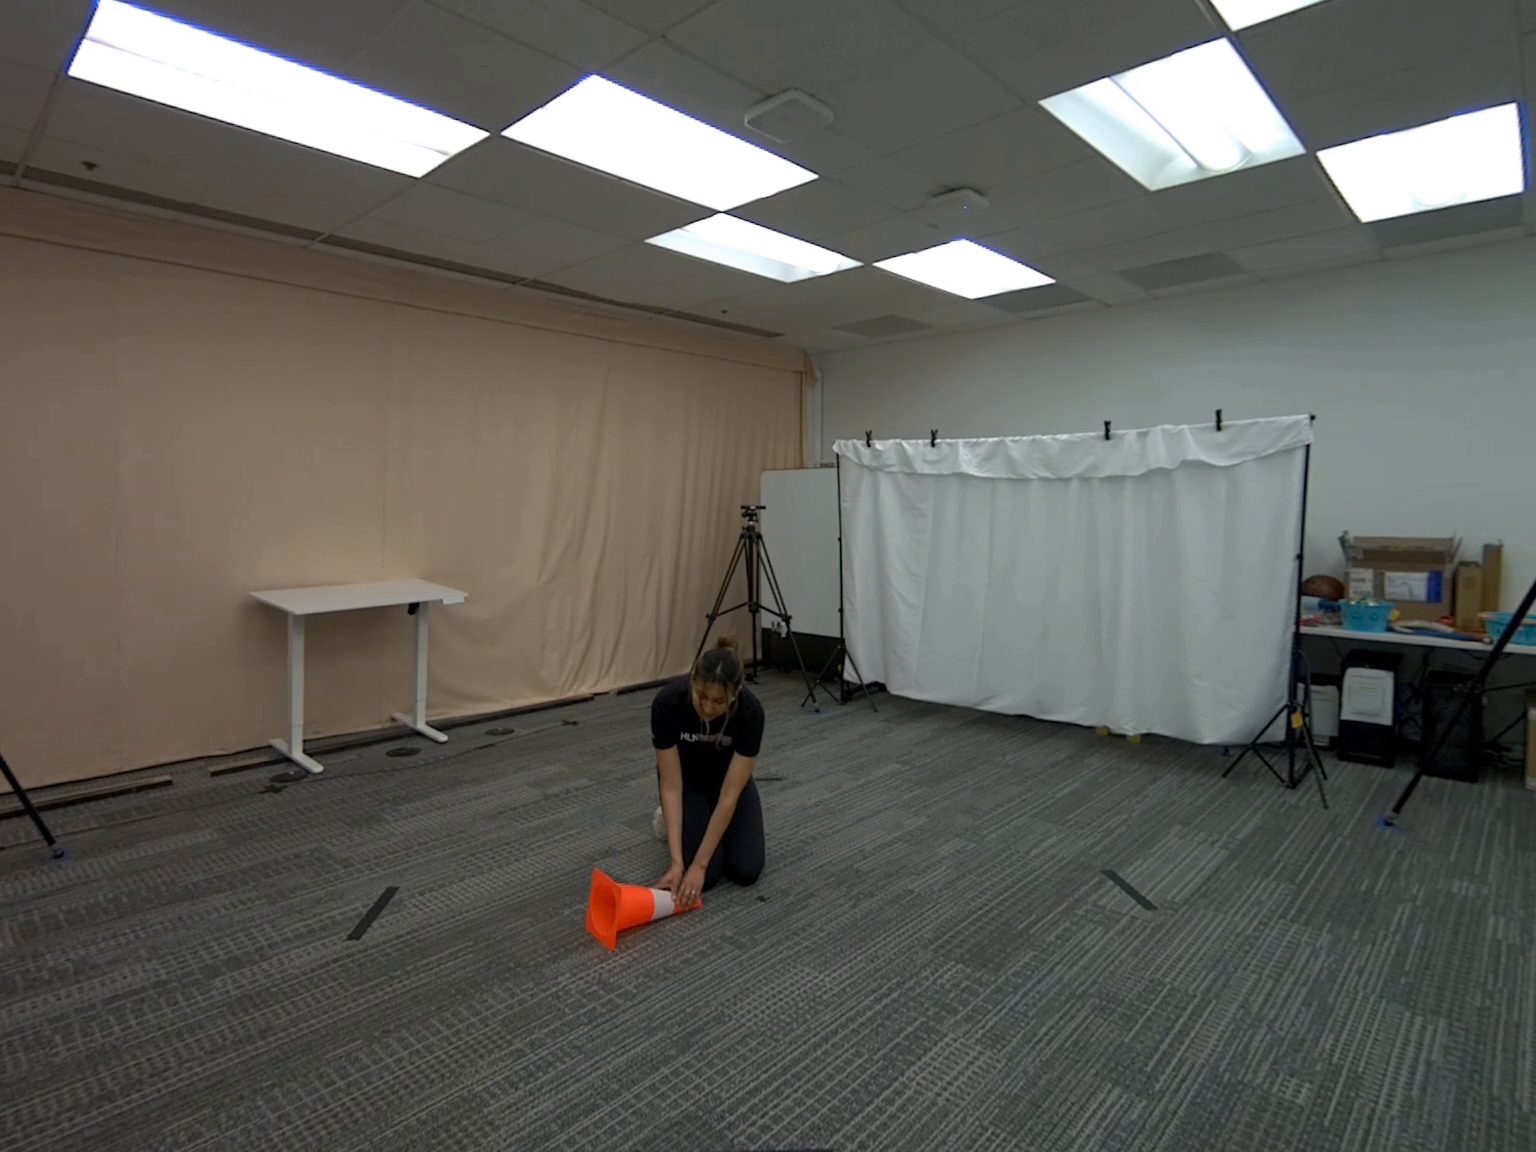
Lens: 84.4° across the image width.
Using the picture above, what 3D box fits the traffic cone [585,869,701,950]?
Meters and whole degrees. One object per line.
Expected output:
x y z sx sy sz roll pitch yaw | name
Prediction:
-0.391 1.101 2.822 0.371 0.205 0.210 11 -3 -36 | traffic cone
